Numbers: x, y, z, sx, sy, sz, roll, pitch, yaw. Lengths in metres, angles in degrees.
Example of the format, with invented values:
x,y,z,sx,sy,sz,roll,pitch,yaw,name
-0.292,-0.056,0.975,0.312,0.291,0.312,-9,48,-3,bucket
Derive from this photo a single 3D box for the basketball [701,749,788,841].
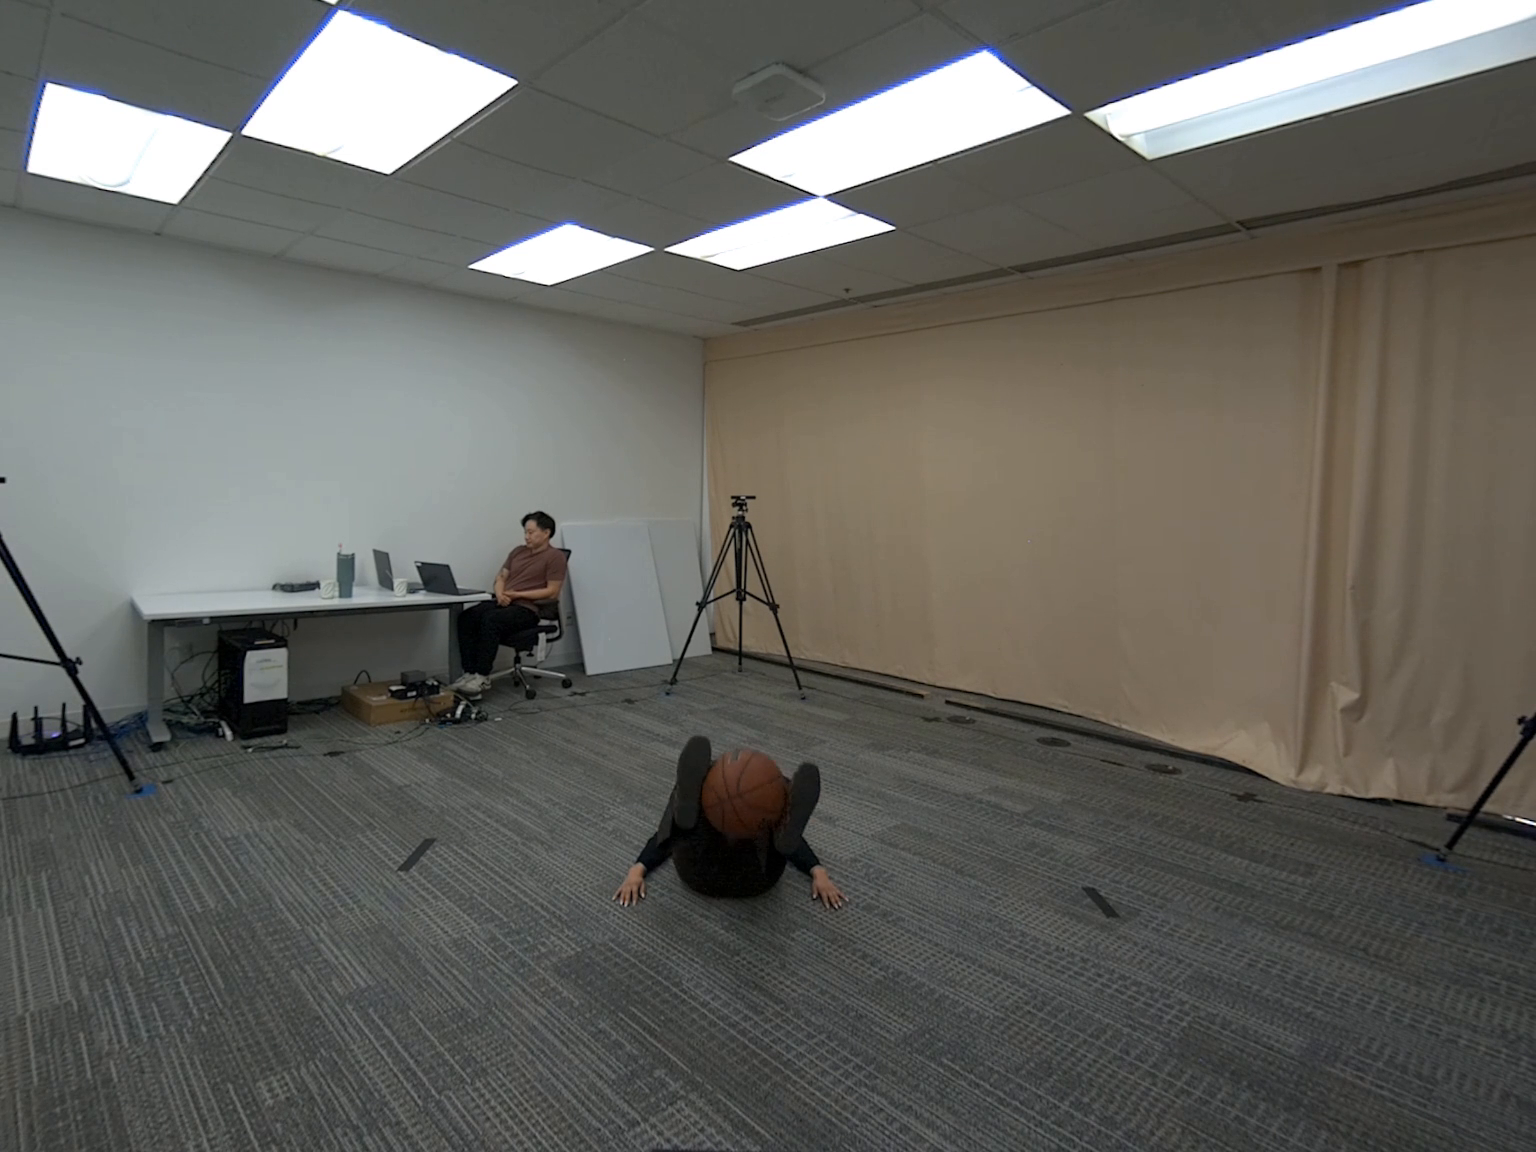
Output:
x,y,z,sx,sy,sz,roll,pitch,yaw,name
-0.086,0.595,2.311,0.235,0.235,0.237,4,5,-2,basketball
